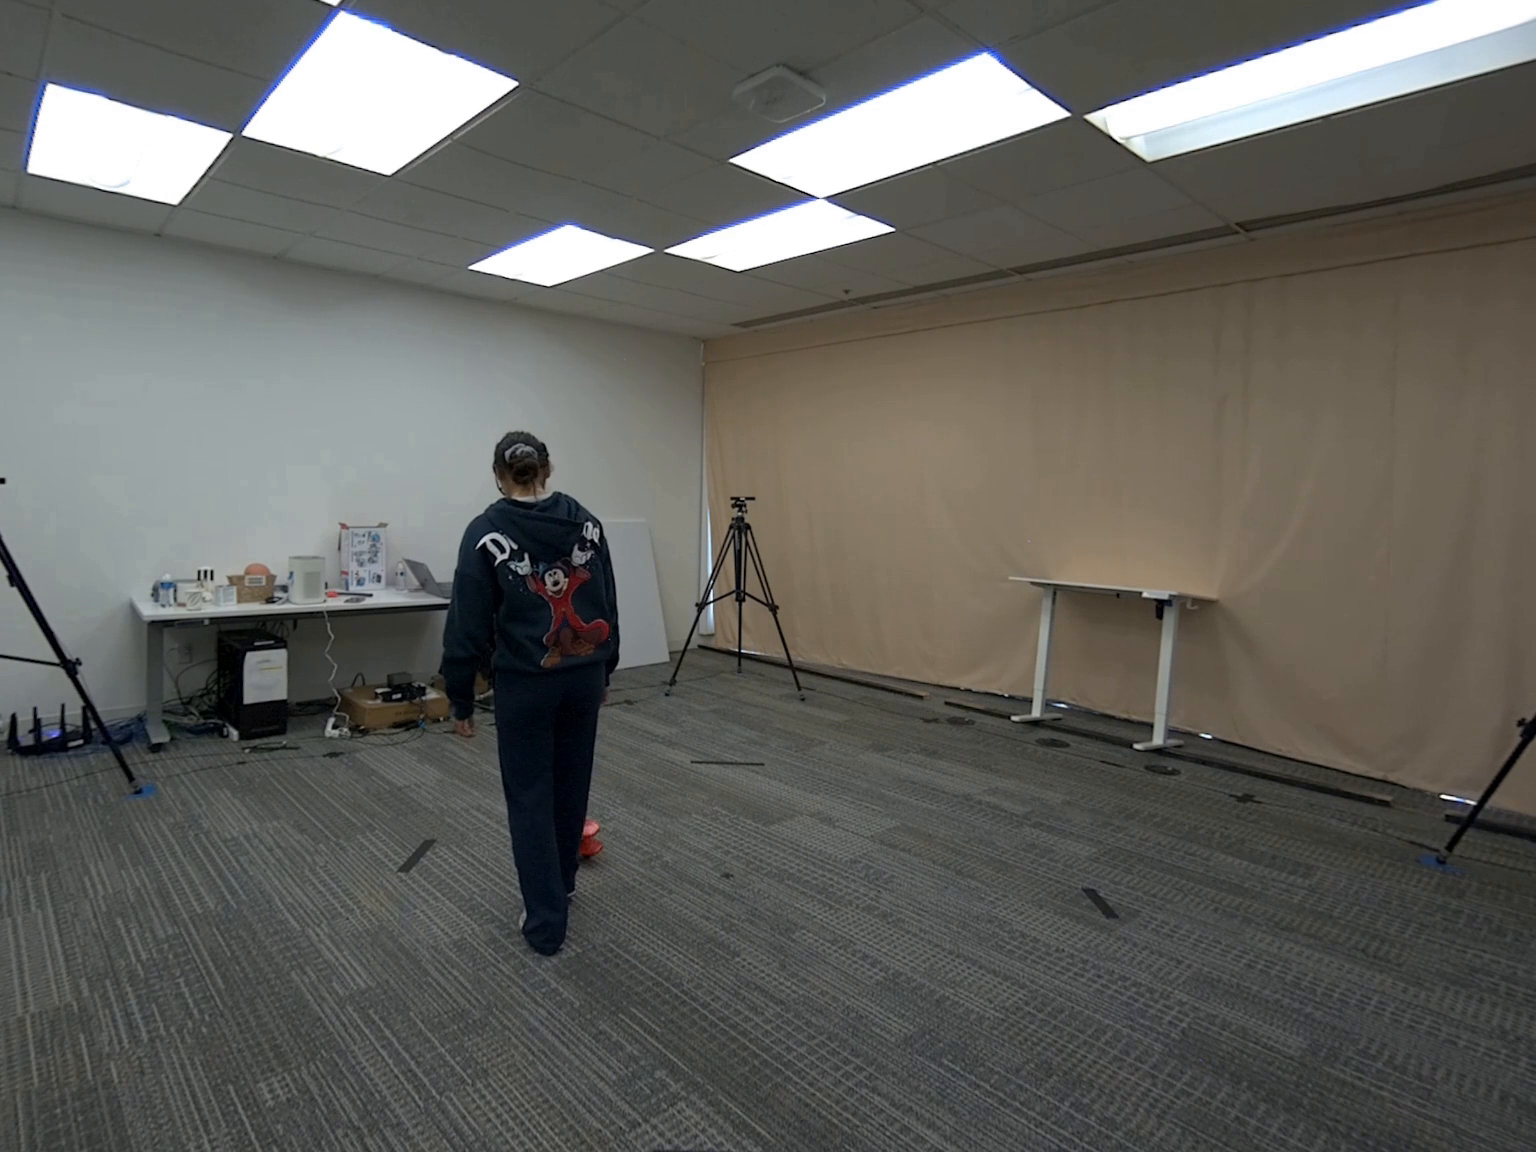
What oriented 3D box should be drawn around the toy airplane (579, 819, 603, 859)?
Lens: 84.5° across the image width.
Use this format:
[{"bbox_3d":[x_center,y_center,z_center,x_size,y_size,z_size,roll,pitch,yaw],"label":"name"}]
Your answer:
[{"bbox_3d":[-0.747,1.015,3.162,0.250,0.156,0.260,1,3,-4],"label":"toy airplane"}]
